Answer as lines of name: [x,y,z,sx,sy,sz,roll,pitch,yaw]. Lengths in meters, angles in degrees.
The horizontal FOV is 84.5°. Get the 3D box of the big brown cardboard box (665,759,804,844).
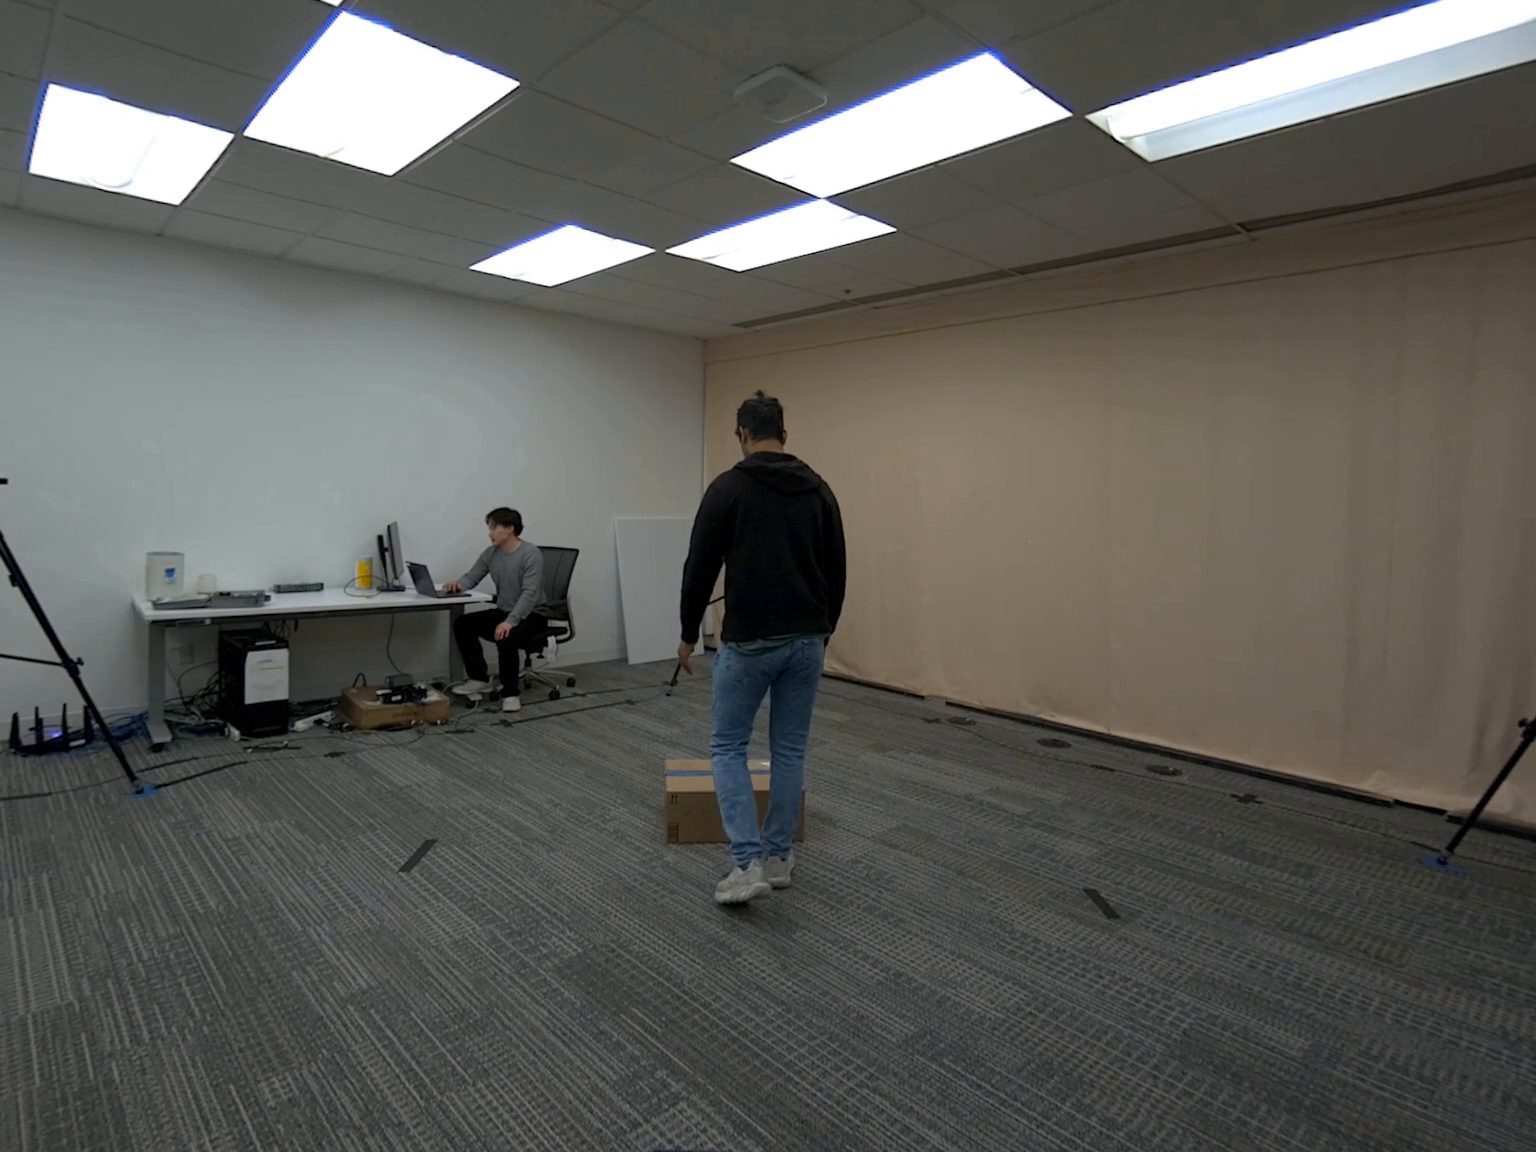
big brown cardboard box: [-0.160,0.950,3.603,0.586,0.232,0.421,0,5,-7]
